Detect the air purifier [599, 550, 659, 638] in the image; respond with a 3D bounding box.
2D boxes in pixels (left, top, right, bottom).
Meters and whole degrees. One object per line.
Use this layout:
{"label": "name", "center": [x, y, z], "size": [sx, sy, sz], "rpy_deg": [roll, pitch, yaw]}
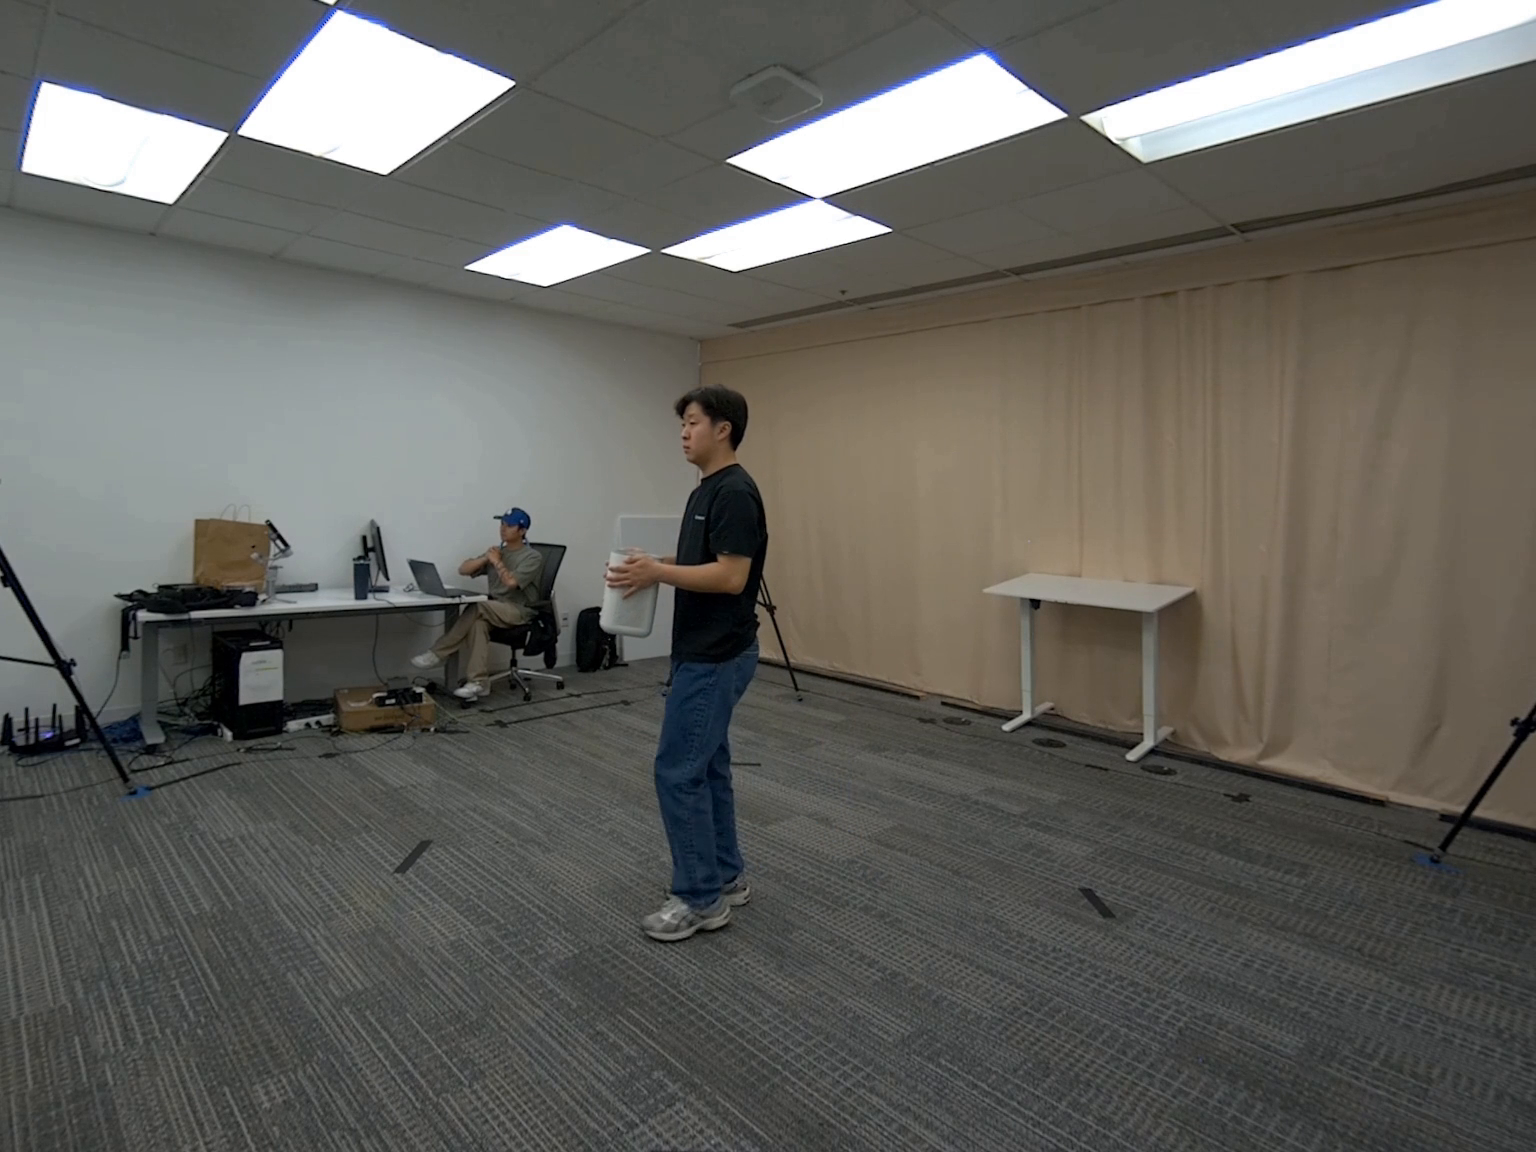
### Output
{"label": "air purifier", "center": [-0.457, 0.059, 2.755], "size": [0.170, 0.264, 0.173], "rpy_deg": [9, 6, -8]}
